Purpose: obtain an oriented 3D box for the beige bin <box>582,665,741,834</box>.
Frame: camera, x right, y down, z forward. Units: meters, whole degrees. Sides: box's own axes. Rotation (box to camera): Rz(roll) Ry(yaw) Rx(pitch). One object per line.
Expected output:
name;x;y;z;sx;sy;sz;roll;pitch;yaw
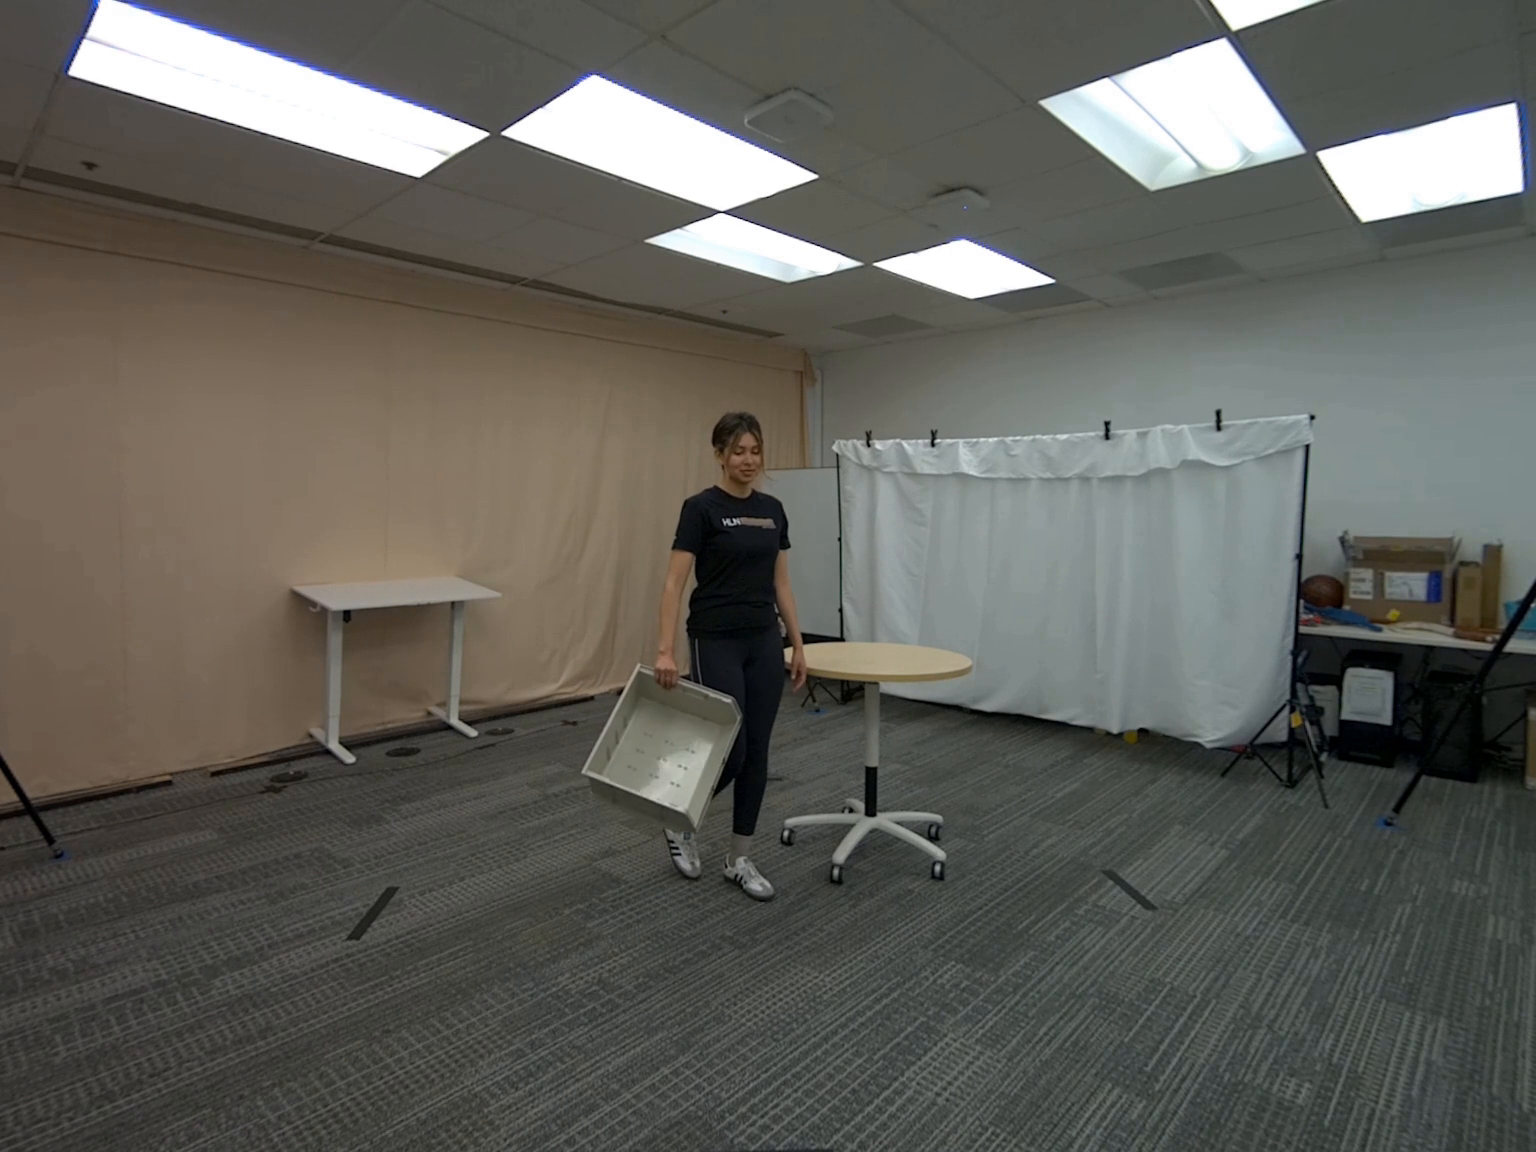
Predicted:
beige bin;-0.321;0.554;2.695;0.383;0.423;0.185;15;-39;12
